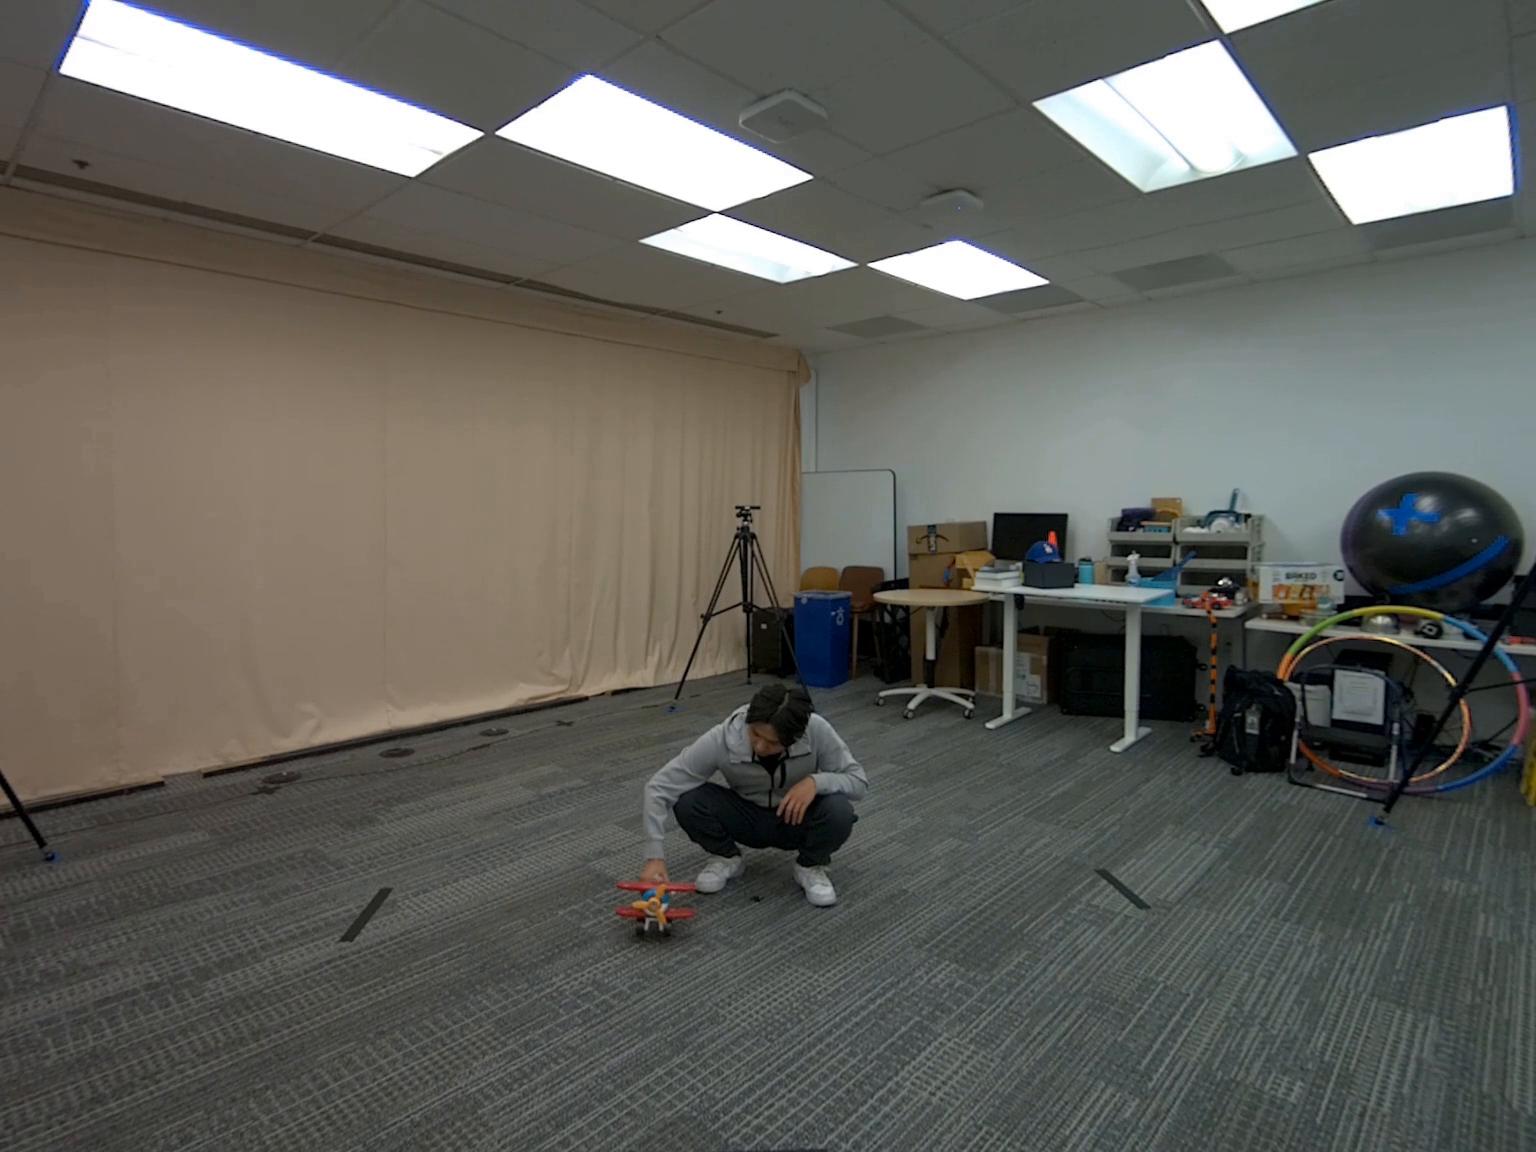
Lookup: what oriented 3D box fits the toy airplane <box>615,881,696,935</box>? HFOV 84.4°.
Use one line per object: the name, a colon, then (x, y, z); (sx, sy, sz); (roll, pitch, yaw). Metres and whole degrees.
toy airplane: (-0.380, 1.062, 2.772); (0.244, 0.156, 0.267); (-1, 5, -29)
